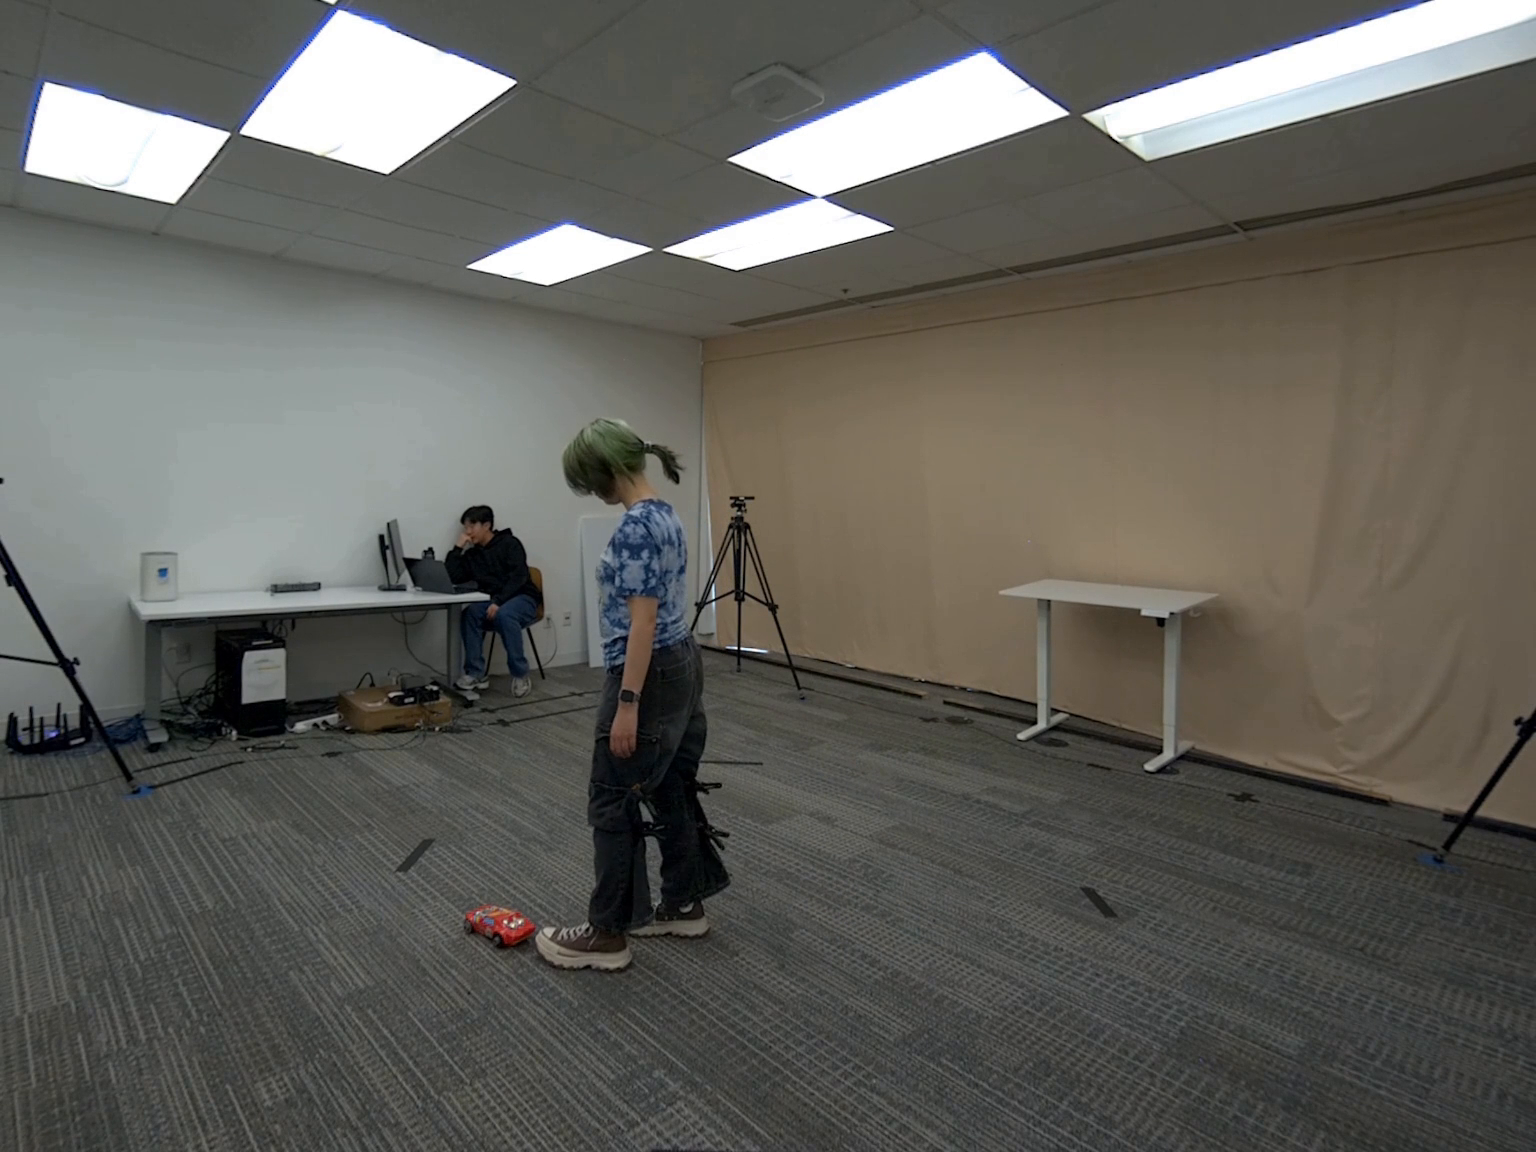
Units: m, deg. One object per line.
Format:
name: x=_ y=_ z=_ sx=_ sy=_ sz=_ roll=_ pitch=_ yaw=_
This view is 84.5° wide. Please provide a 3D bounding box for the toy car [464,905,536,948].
toy car: x=-0.839 y=1.096 z=2.646 sx=0.259 sy=0.083 sz=0.127 roll=-9 pitch=-2 yaw=35
